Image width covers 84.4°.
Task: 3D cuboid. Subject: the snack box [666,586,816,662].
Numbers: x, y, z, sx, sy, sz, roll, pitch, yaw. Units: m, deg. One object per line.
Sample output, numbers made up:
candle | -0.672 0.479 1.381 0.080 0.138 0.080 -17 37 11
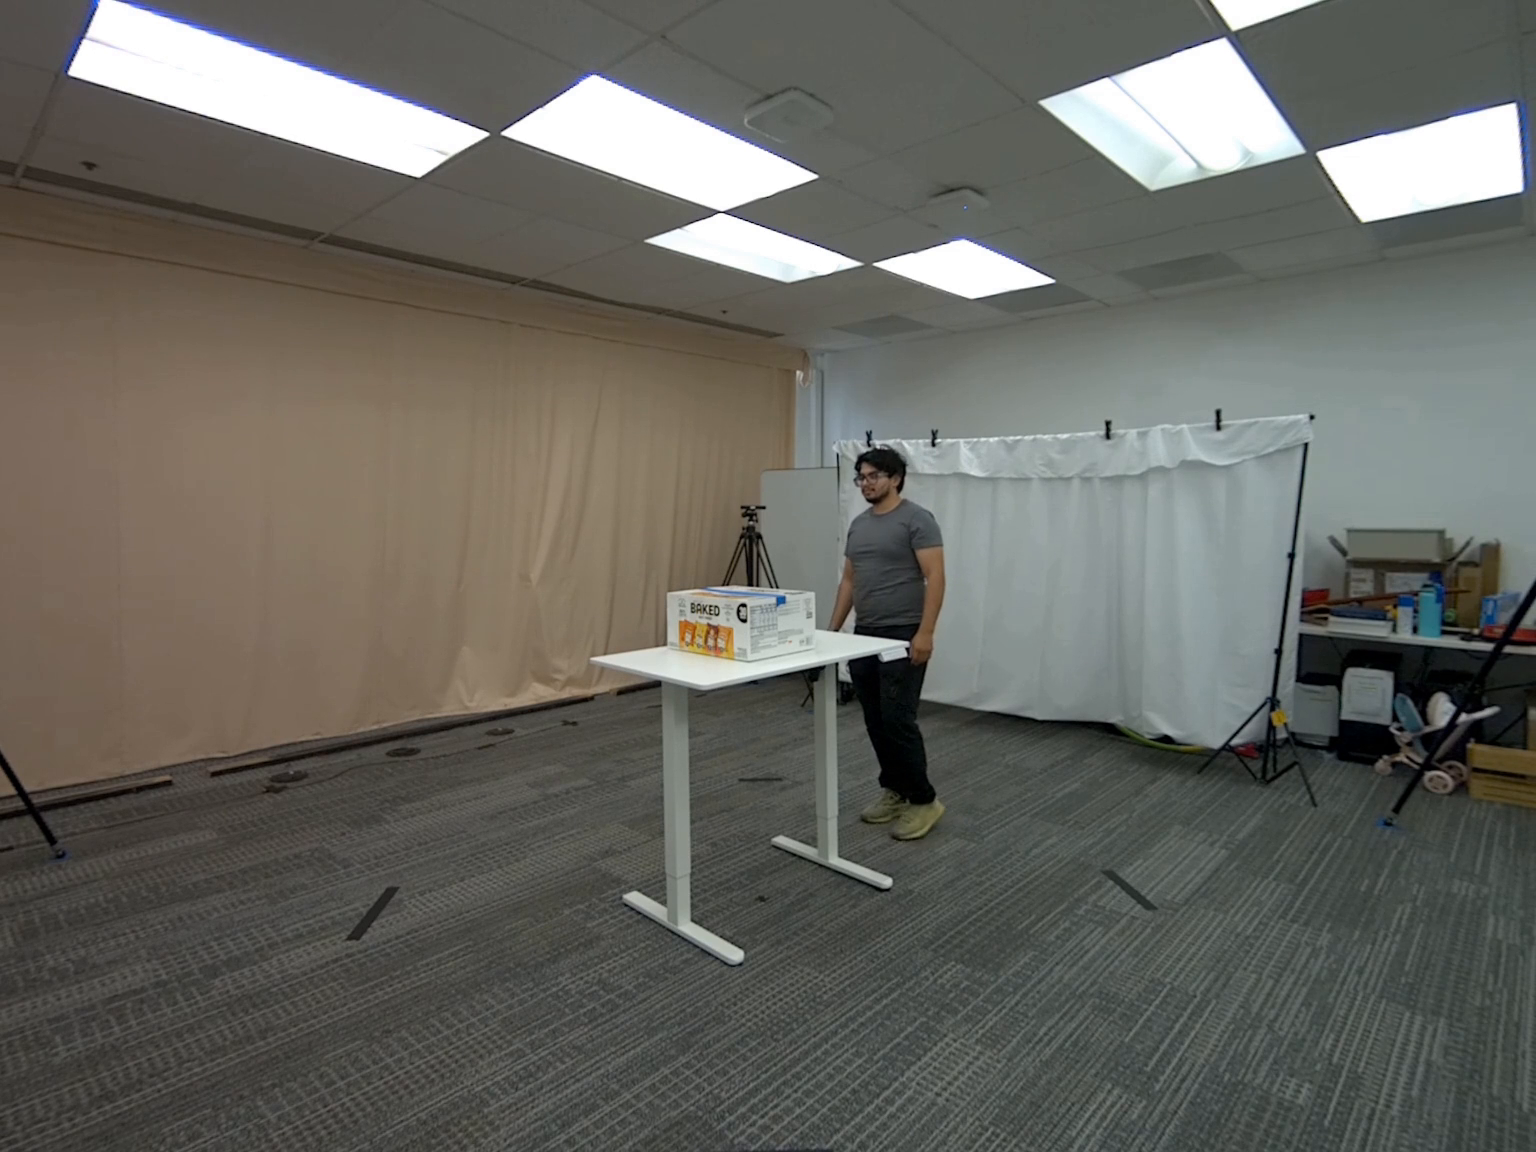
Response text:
snack box | -0.093 0.159 2.987 0.419 0.205 0.330 4 7 44
